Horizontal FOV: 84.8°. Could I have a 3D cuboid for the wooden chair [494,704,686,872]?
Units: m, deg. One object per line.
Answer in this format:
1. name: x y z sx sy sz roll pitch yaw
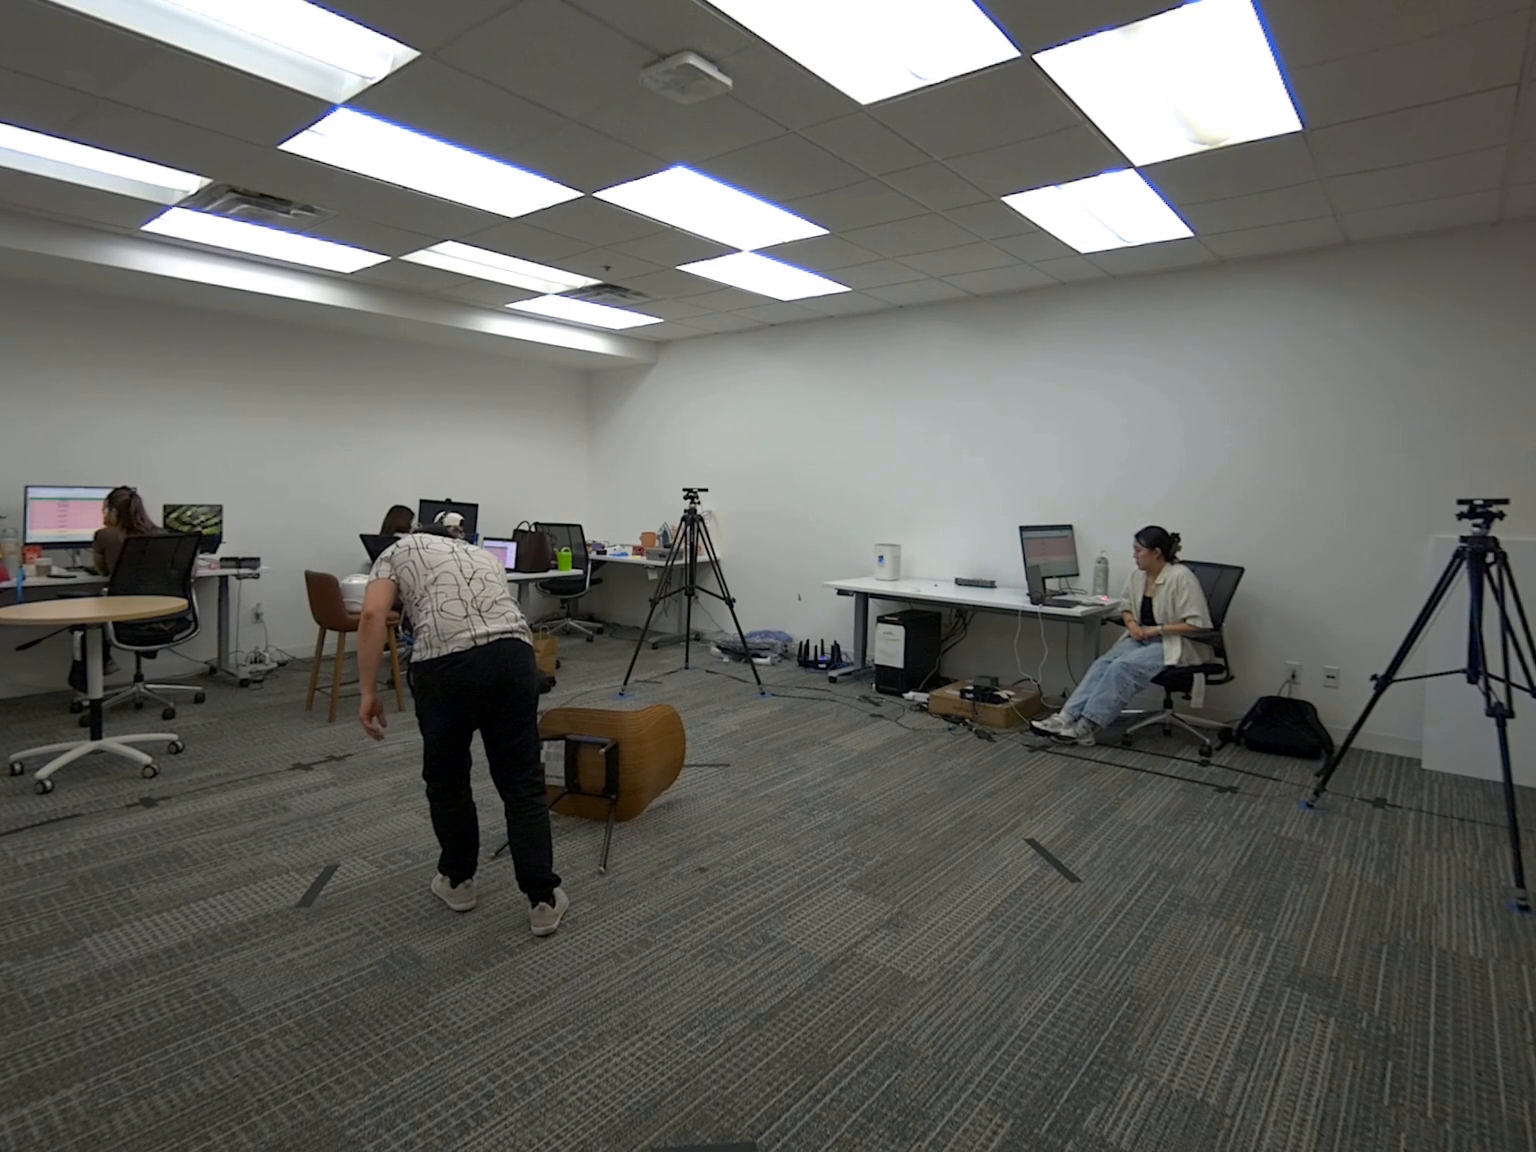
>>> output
1. wooden chair: -0.752 0.795 3.515 0.533 0.476 0.865 2 6 16
